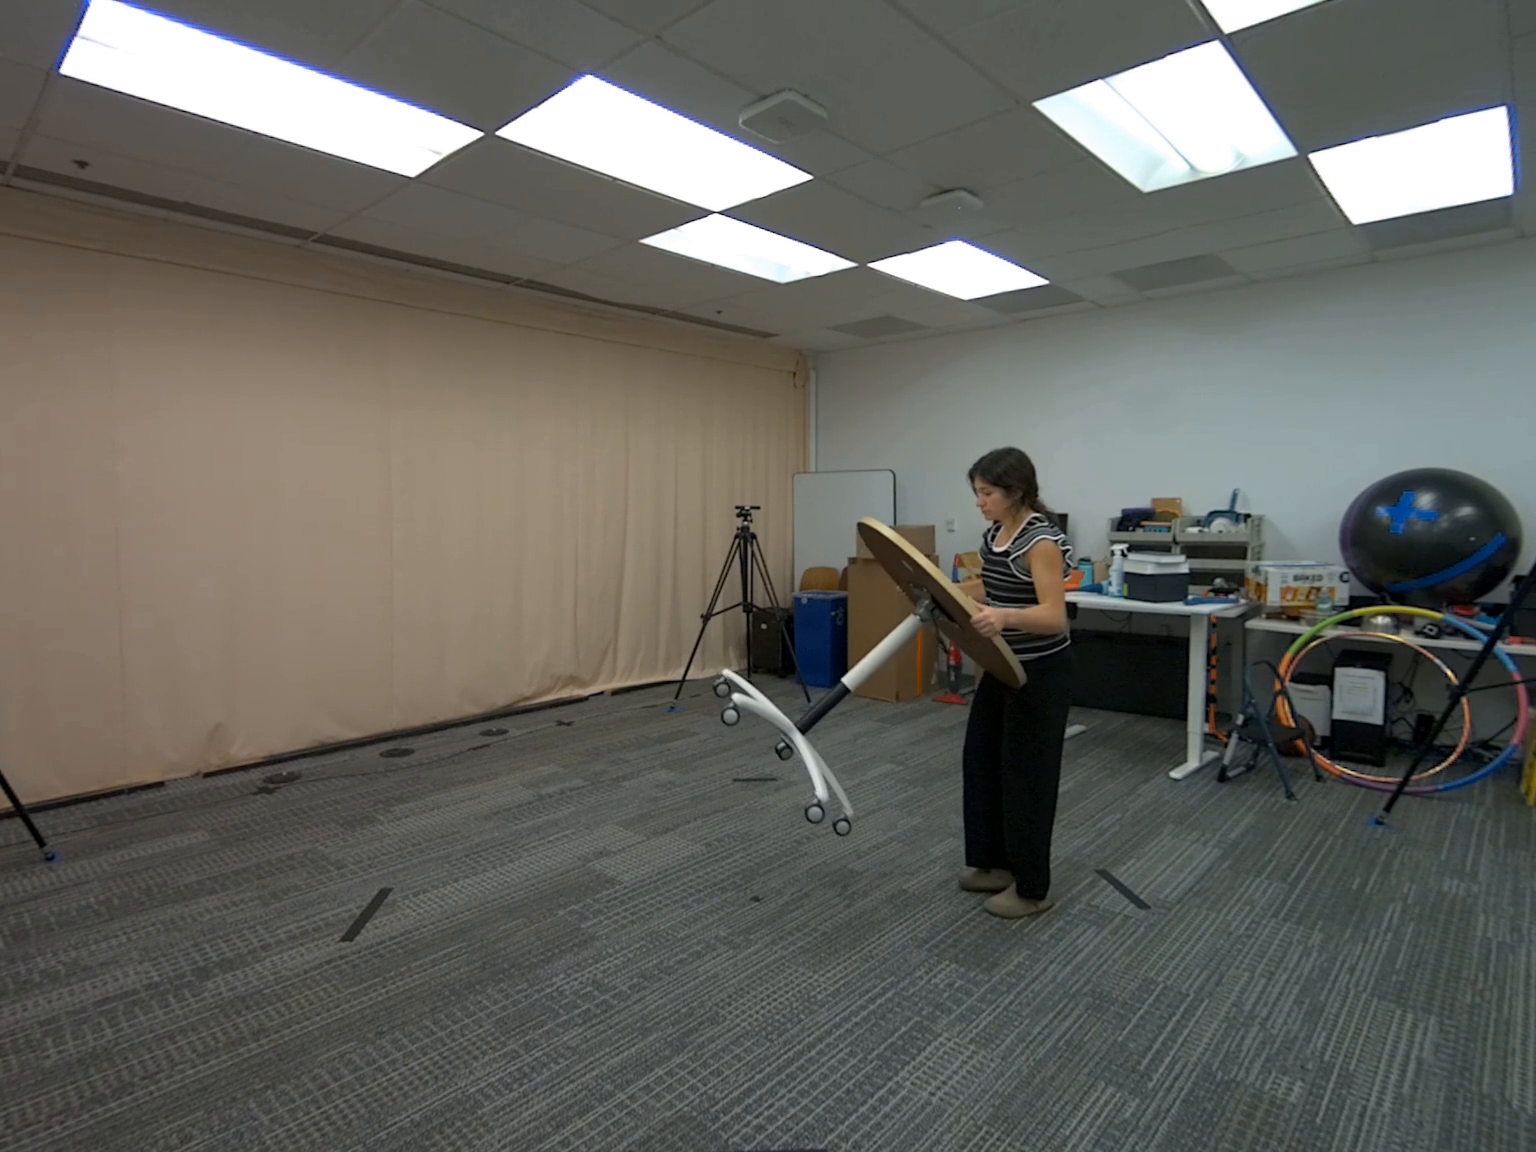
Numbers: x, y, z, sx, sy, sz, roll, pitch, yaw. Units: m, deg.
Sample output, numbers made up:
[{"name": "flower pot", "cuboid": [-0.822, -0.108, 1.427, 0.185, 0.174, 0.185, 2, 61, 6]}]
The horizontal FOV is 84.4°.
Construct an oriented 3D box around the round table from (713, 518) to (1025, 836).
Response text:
[{"name": "round table", "cuboid": [0.297, 0.368, 2.883, 0.794, 0.760, 0.768, -42, 6, -1]}]
